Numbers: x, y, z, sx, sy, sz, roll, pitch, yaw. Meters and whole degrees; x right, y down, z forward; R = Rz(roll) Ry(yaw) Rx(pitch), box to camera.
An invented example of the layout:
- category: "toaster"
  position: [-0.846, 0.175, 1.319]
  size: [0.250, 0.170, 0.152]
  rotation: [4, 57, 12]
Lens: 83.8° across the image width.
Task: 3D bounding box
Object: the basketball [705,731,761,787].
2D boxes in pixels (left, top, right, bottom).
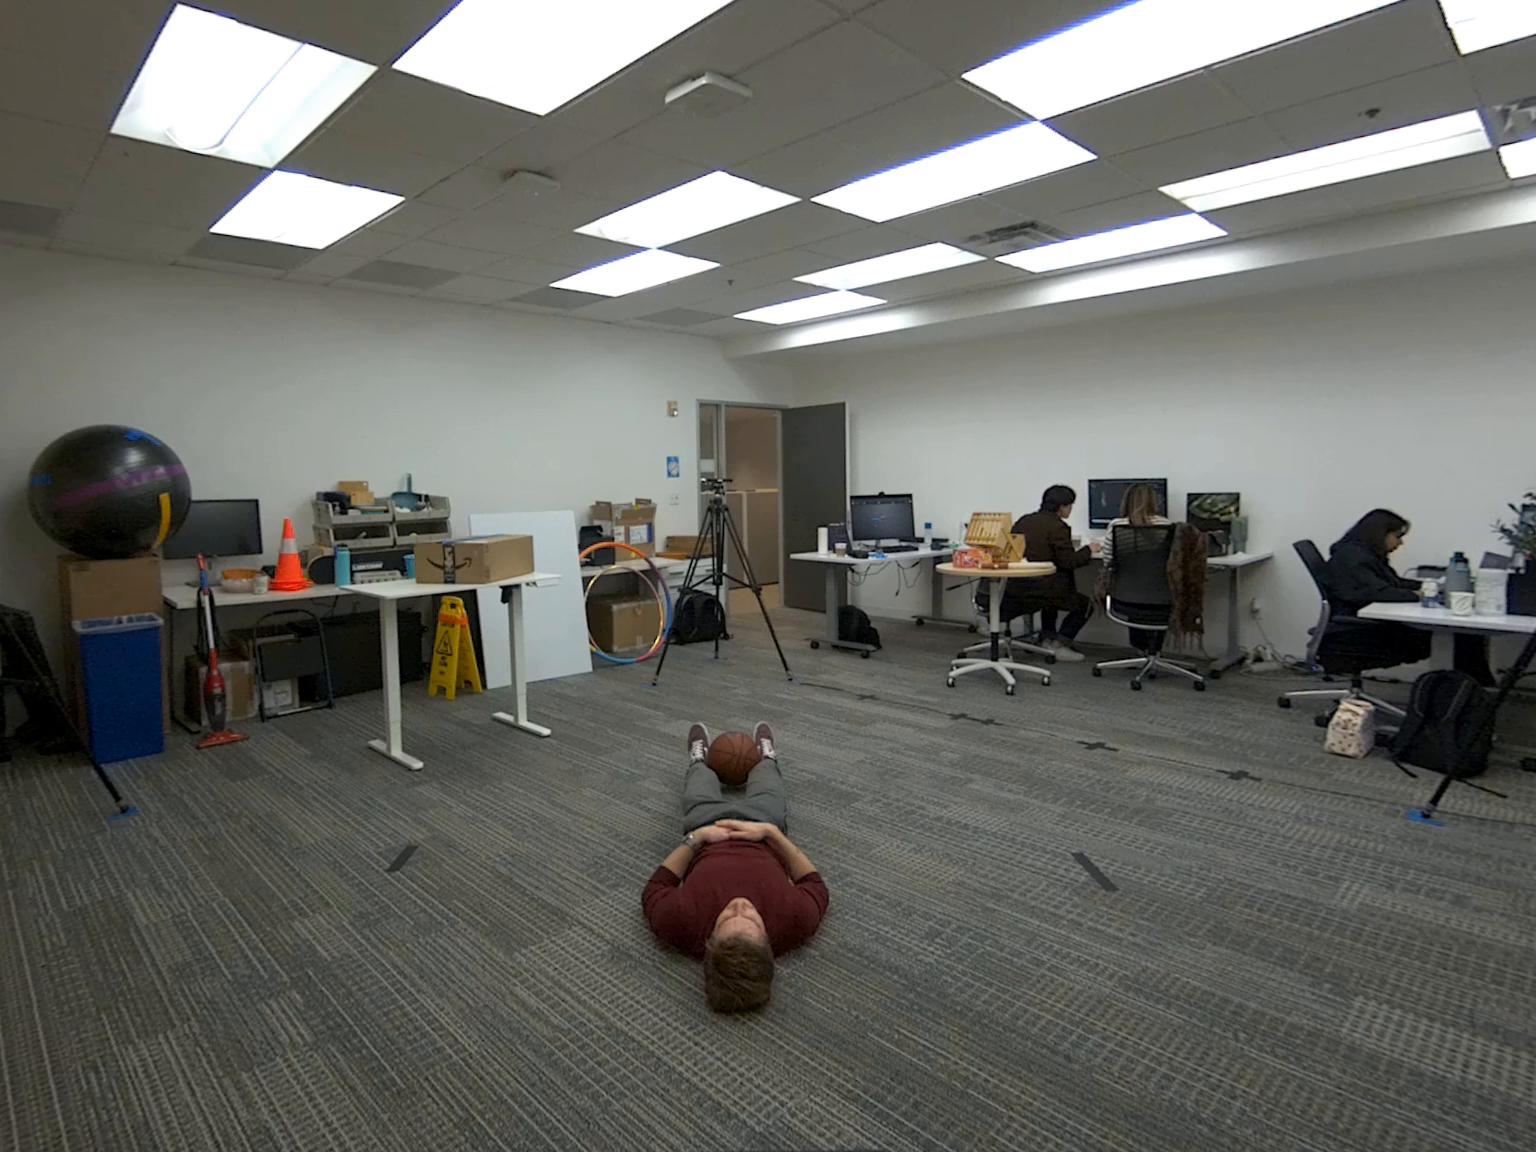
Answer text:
- category: "basketball"
  position: [-0.152, 0.825, 3.878]
  size: [0.236, 0.236, 0.236]
  rotation: [0, 1, -2]
